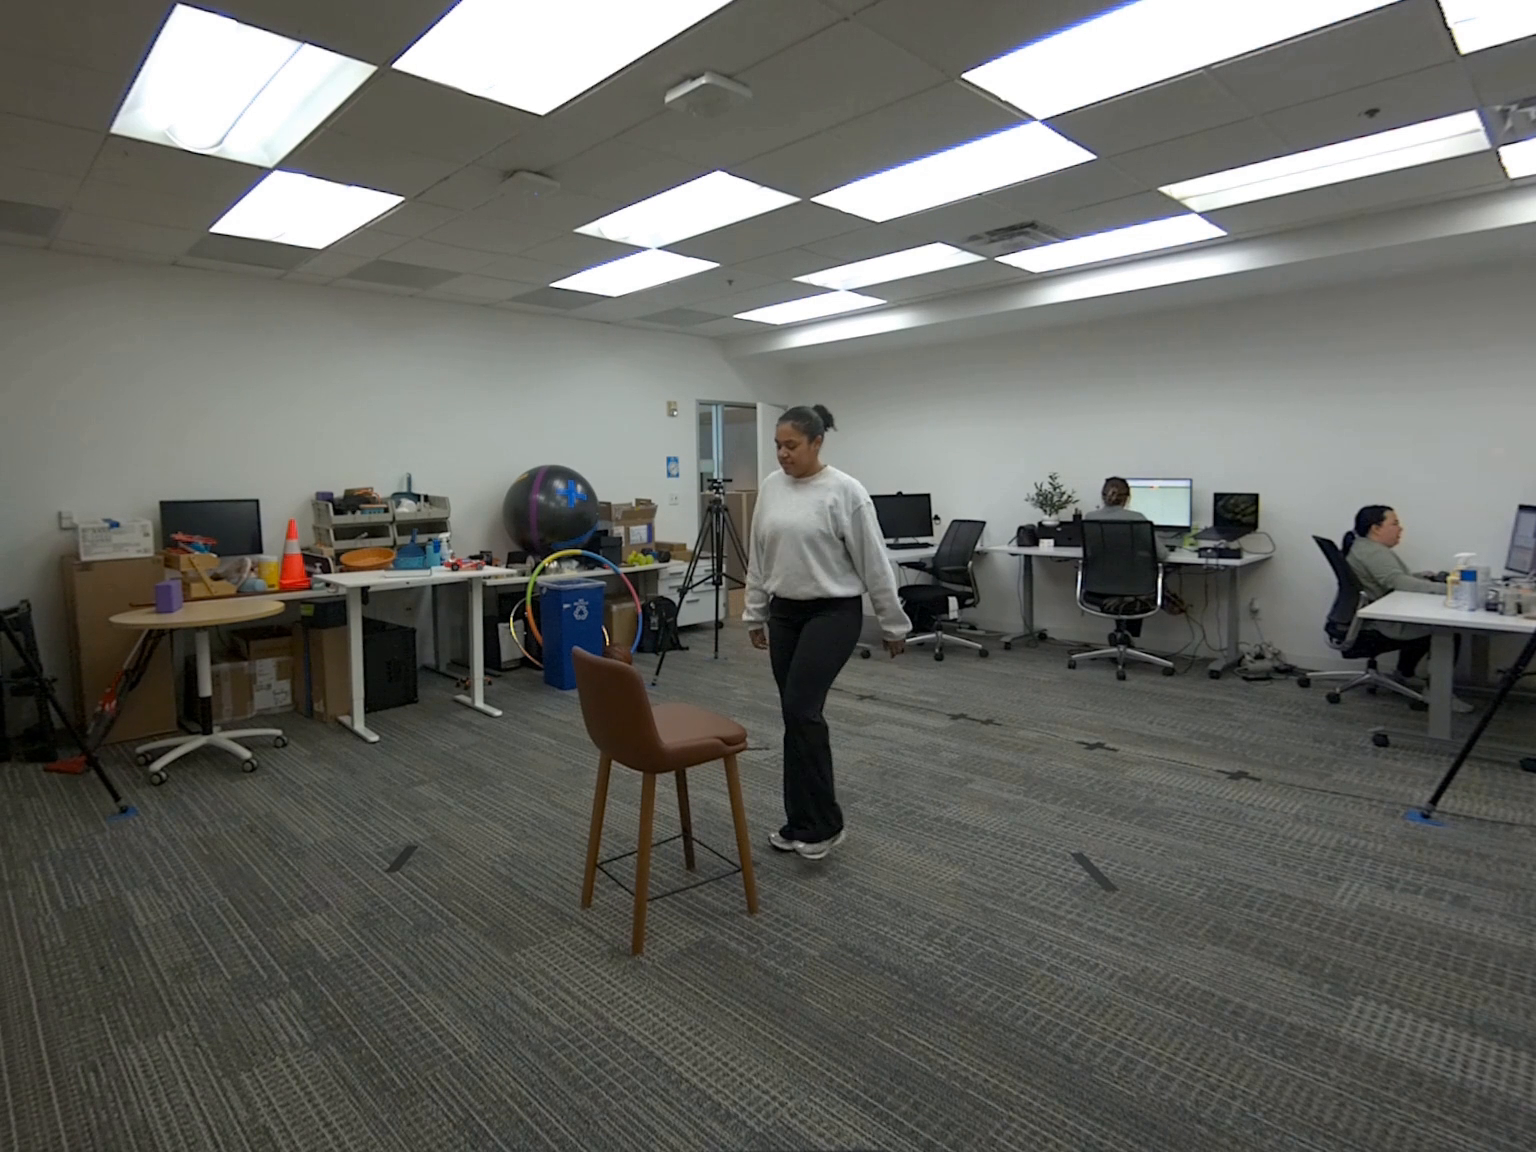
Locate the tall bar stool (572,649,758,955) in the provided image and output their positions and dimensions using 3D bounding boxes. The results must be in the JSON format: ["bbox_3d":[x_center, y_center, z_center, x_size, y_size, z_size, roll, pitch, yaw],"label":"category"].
[{"bbox_3d":[-0.339,0.655,2.760,0.456,0.885,0.470,-7,7,-36],"label":"tall bar stool"}]
